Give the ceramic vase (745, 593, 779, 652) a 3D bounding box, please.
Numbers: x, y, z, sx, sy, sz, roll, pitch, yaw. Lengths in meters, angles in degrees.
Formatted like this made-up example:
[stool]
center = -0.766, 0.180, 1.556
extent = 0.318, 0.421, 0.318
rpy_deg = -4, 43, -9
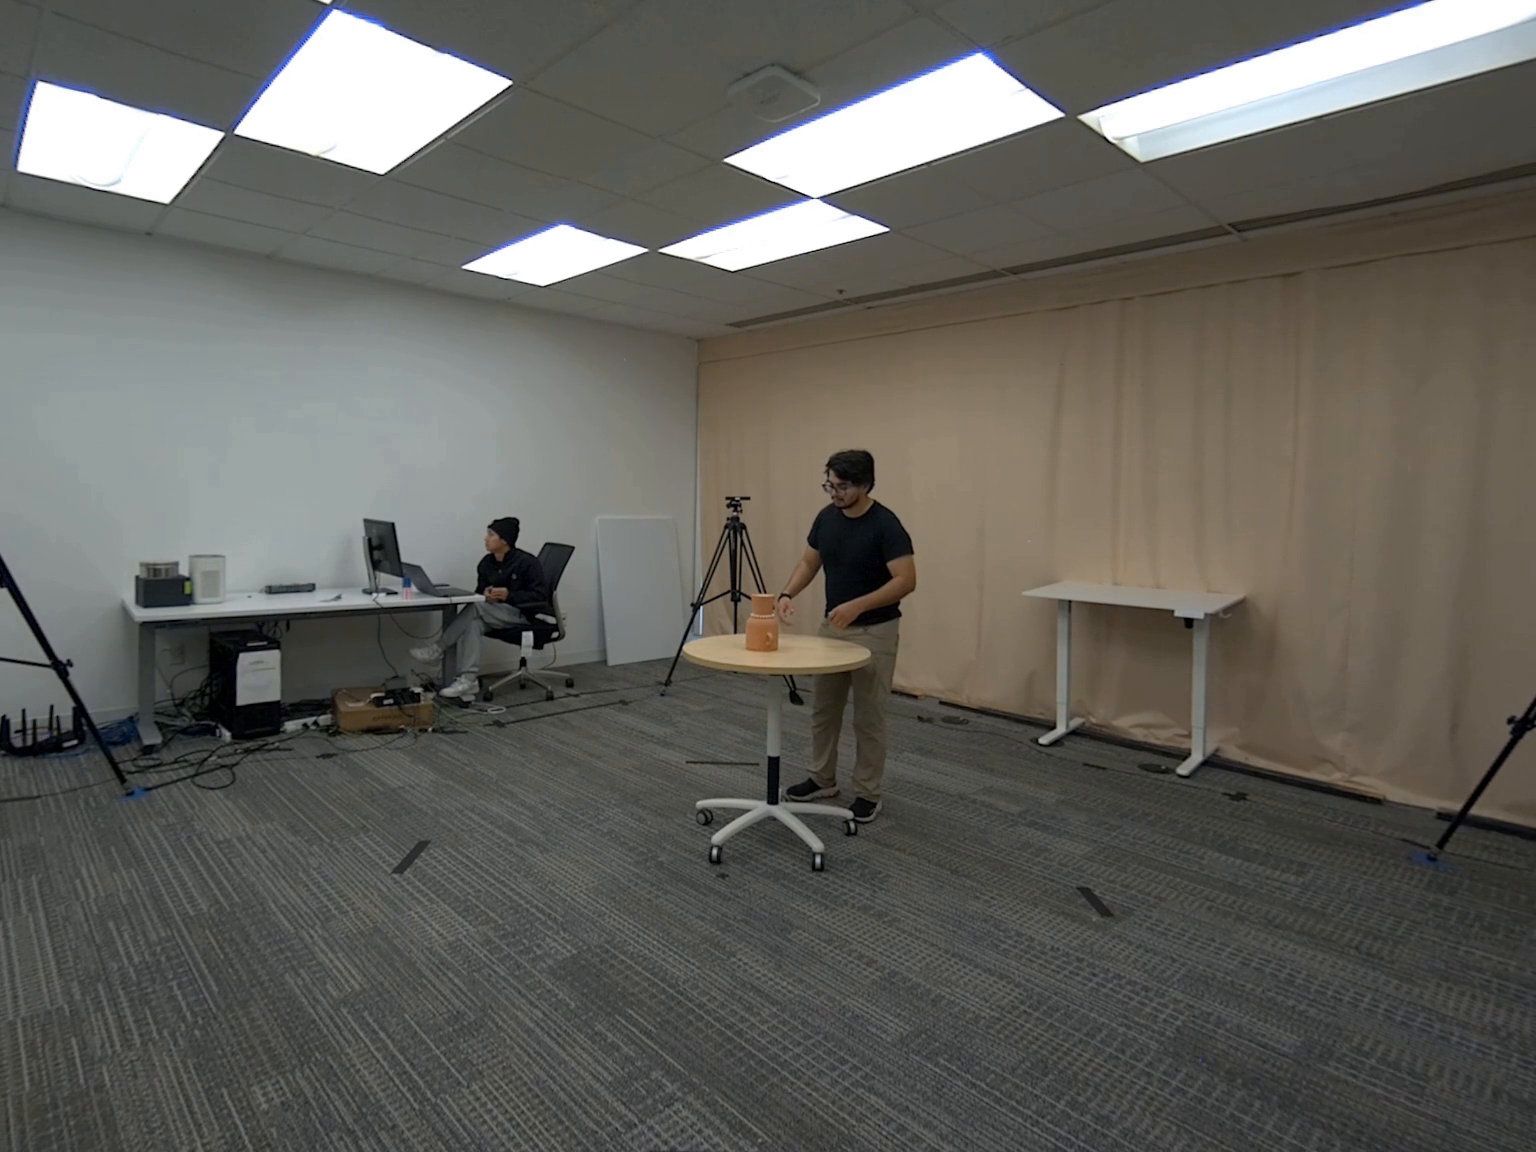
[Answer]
[ceramic vase]
center = -0.031, 0.188, 3.440
extent = 0.162, 0.219, 0.132
rpy_deg = 4, 4, 29
